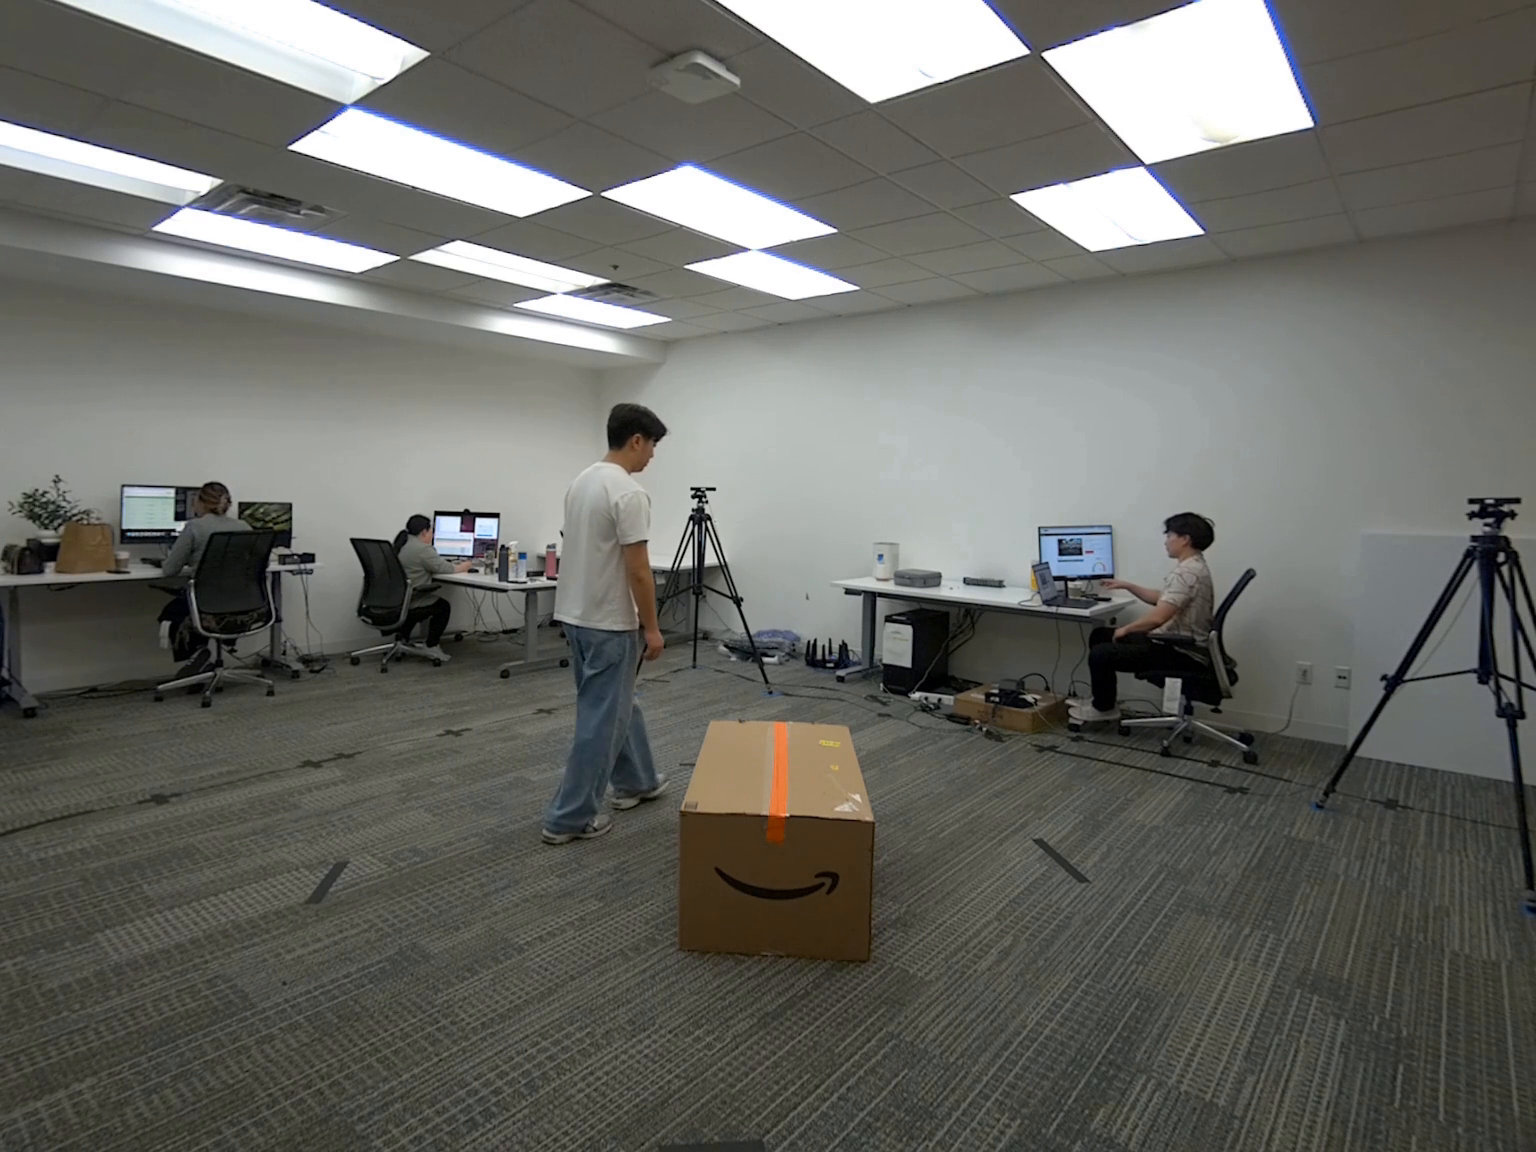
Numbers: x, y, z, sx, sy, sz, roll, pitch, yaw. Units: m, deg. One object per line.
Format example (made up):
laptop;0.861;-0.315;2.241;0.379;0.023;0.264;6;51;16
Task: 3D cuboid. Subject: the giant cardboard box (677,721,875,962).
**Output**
giant cardboard box;0.024;0.861;3.015;0.579;0.424;1.027;2;5;2
